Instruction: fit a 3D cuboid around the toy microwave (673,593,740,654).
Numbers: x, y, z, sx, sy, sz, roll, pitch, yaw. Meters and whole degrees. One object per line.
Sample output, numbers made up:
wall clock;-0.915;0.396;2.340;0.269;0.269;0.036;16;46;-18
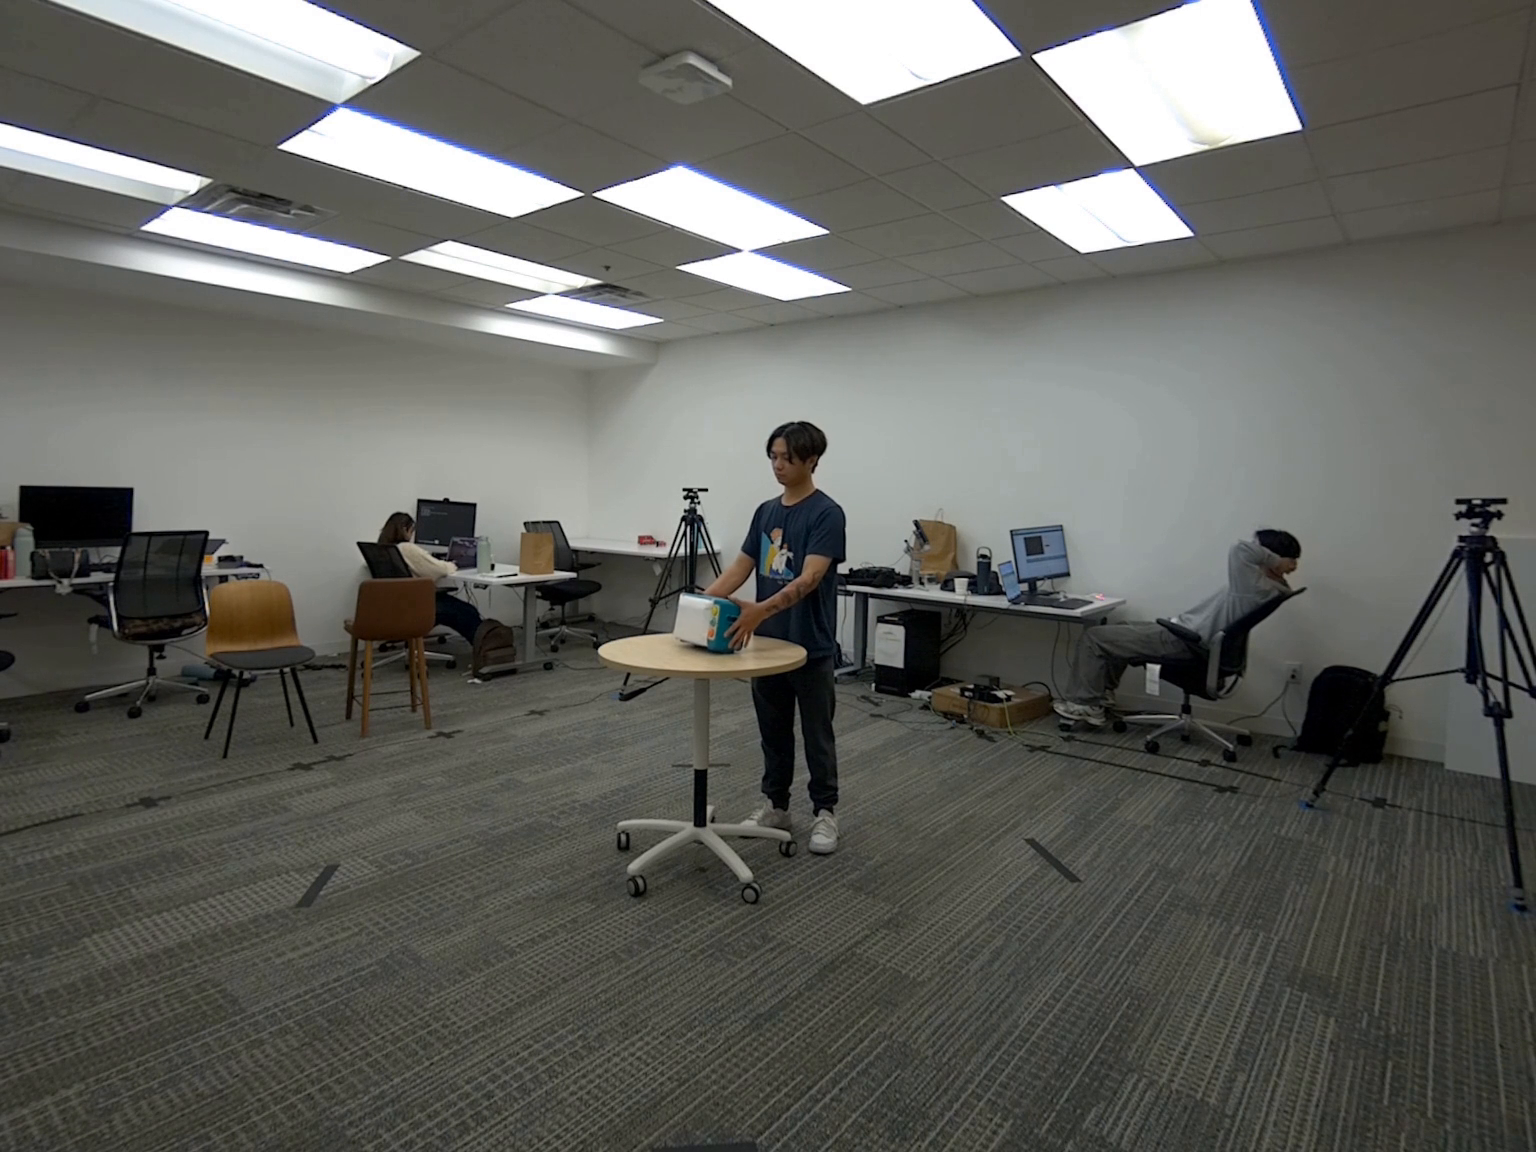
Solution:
toy microwave;-0.228;0.166;3.147;0.147;0.184;0.296;11;-2;-37
